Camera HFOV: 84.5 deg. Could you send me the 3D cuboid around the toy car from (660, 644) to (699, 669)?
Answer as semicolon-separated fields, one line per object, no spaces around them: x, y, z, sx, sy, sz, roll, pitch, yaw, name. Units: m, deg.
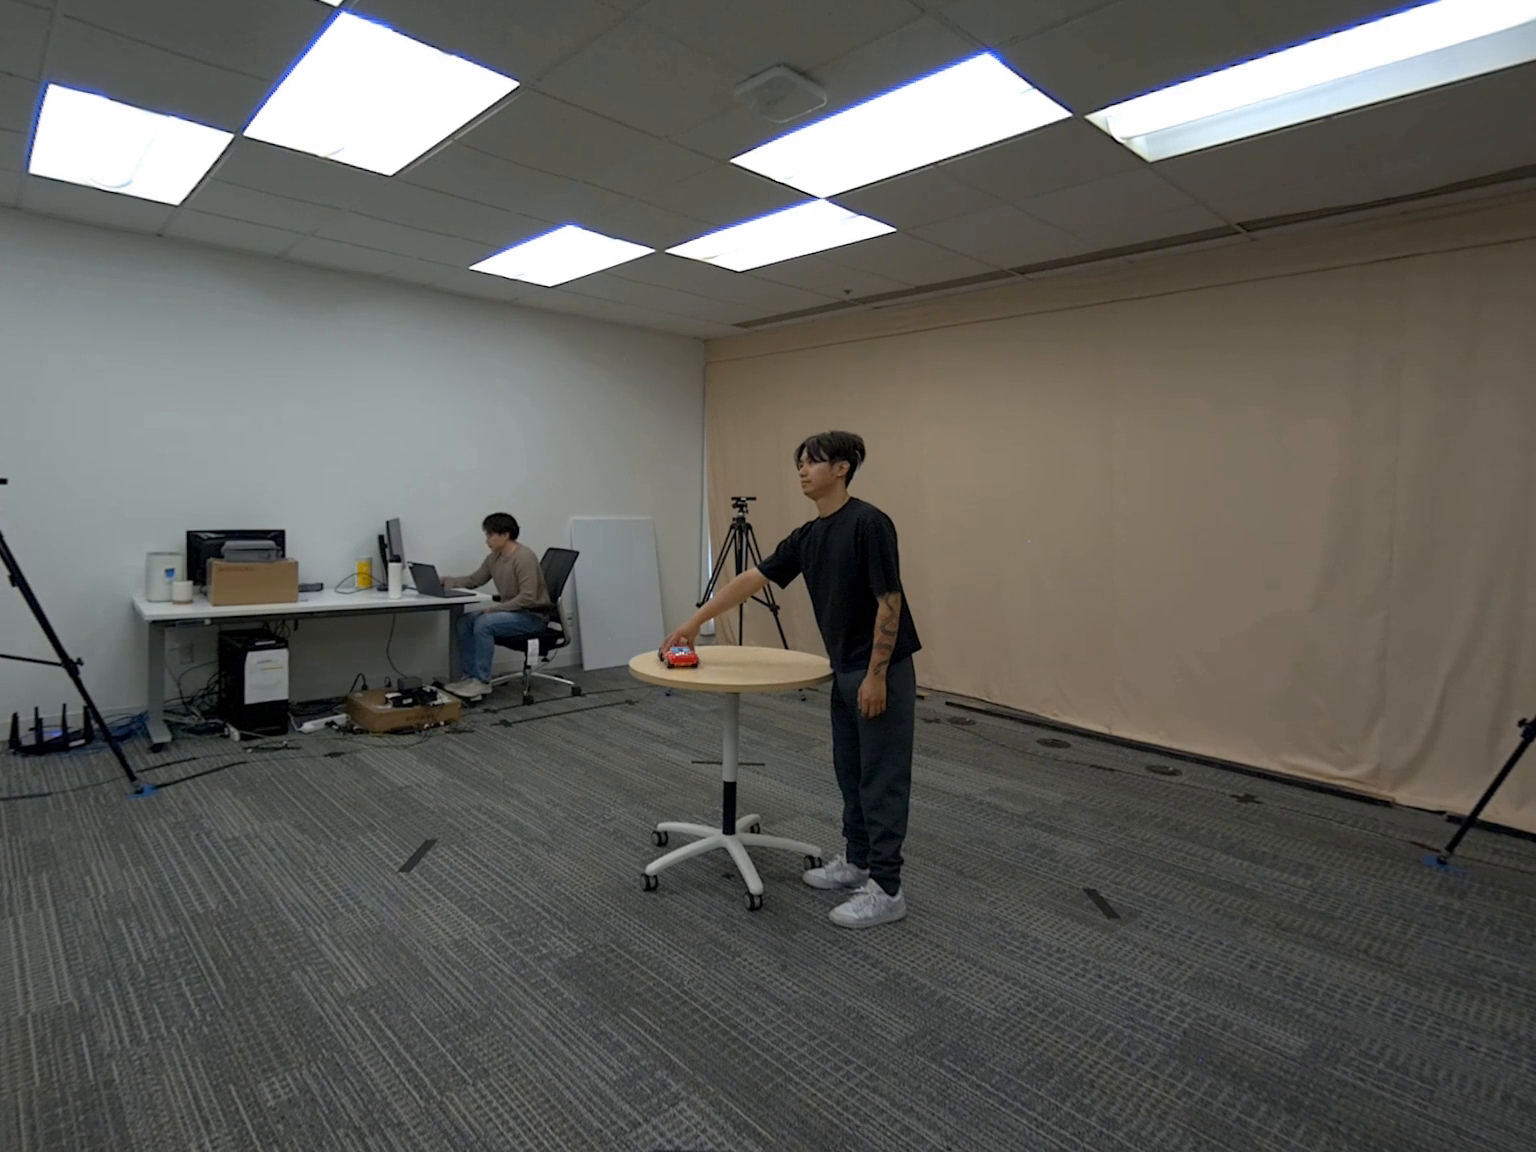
-0.335;0.290;3.099;0.129;0.082;0.260;0;15;-16;toy car
